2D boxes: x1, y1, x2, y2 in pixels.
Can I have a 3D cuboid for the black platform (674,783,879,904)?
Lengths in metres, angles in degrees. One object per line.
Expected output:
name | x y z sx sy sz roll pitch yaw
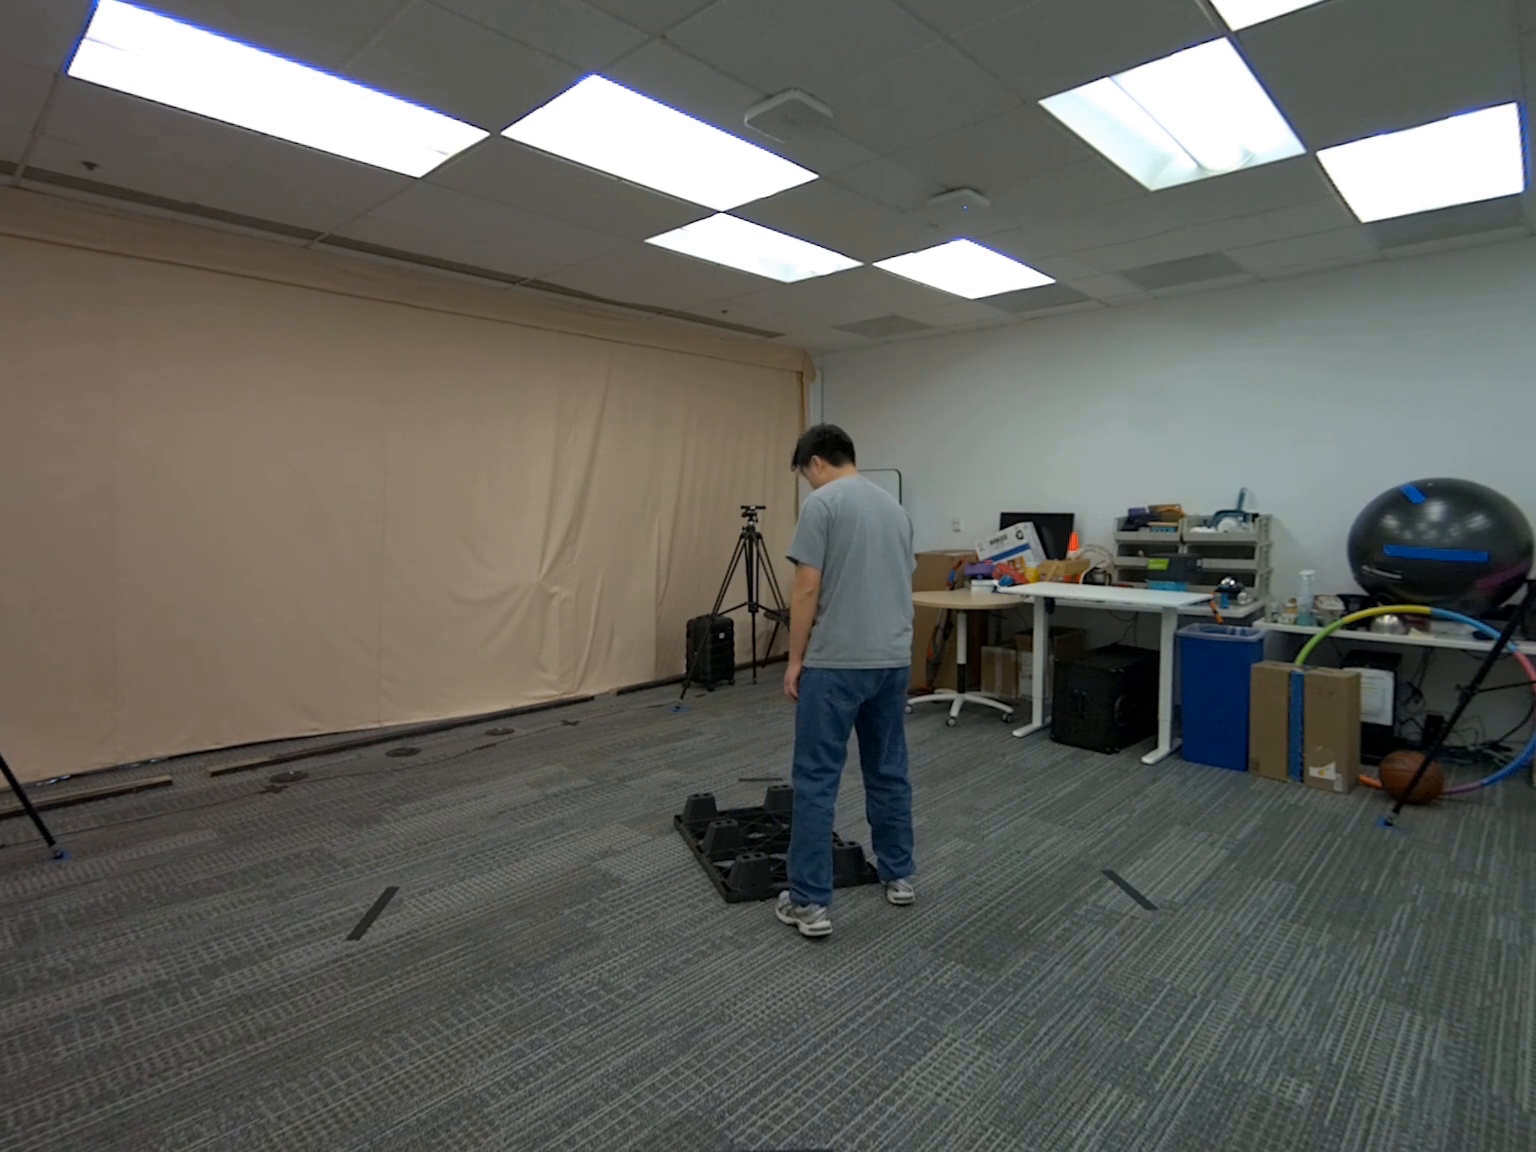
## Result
black platform | -0.005 1.040 3.399 0.594 0.143 0.823 -1 4 -20
